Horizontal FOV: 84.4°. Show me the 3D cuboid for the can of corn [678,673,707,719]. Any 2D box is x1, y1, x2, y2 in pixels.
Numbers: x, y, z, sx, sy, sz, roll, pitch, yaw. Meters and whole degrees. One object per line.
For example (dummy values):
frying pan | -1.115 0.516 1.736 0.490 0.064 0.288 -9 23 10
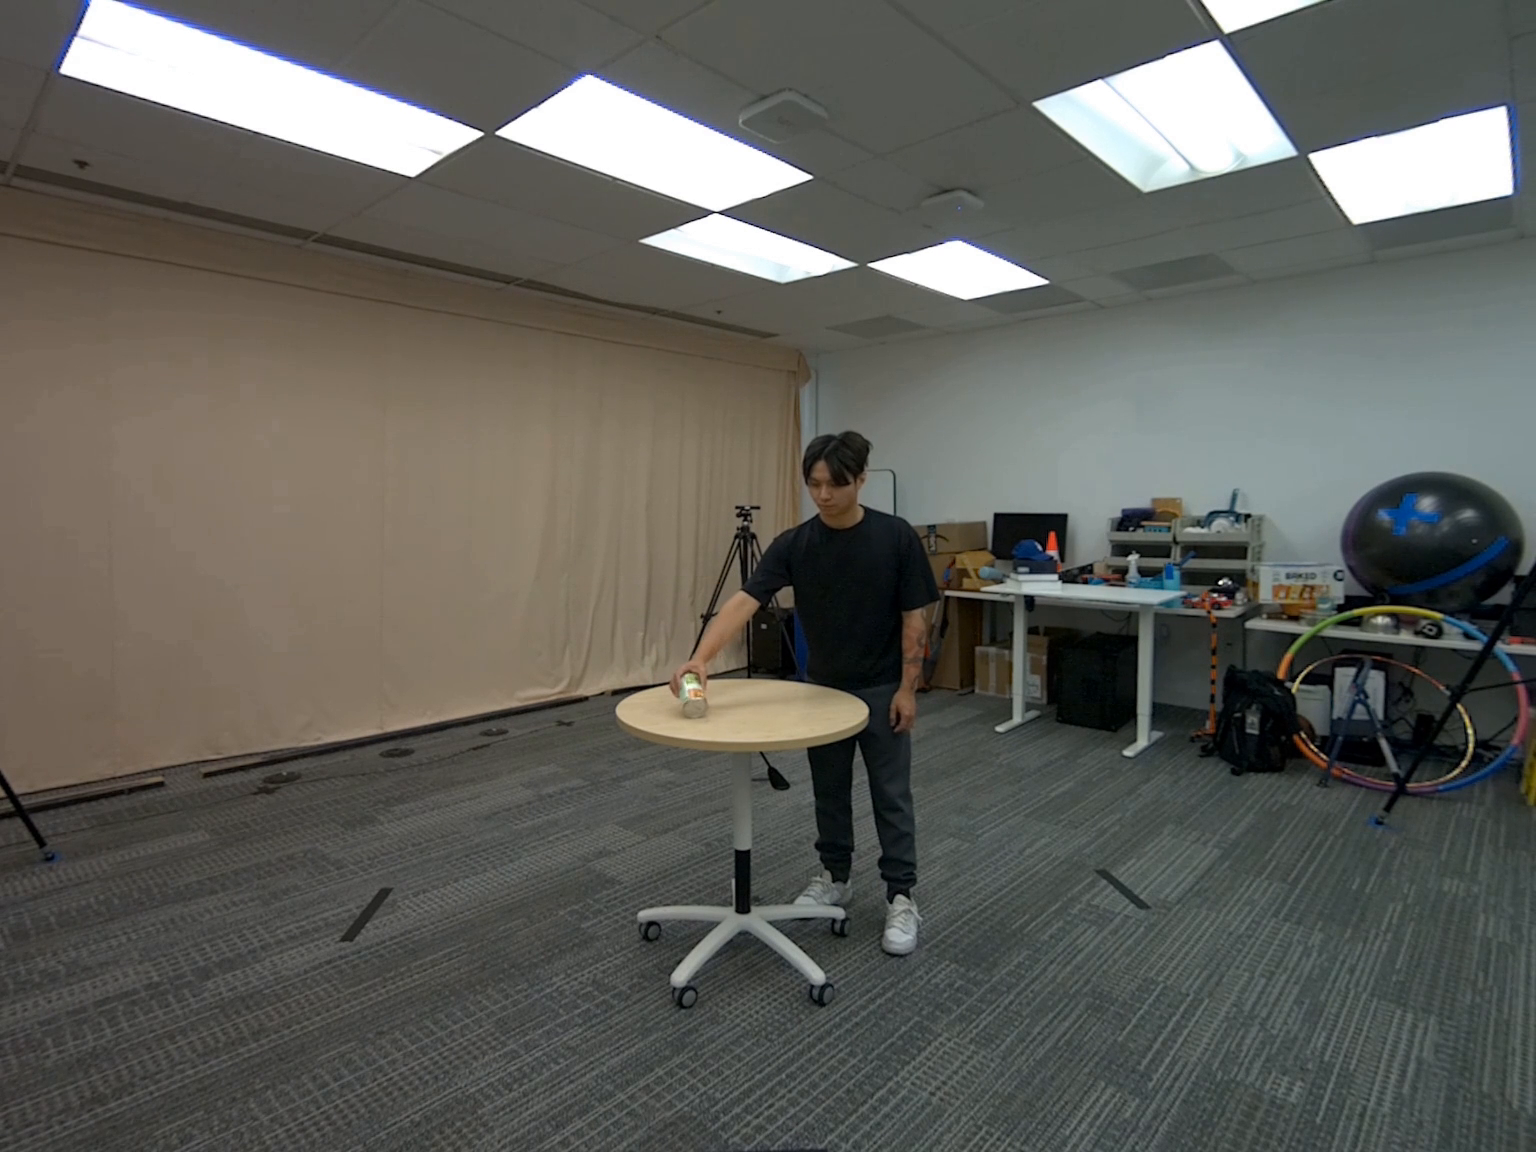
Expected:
can of corn | -0.214 0.354 2.451 0.073 0.073 0.114 -1 32 -13
